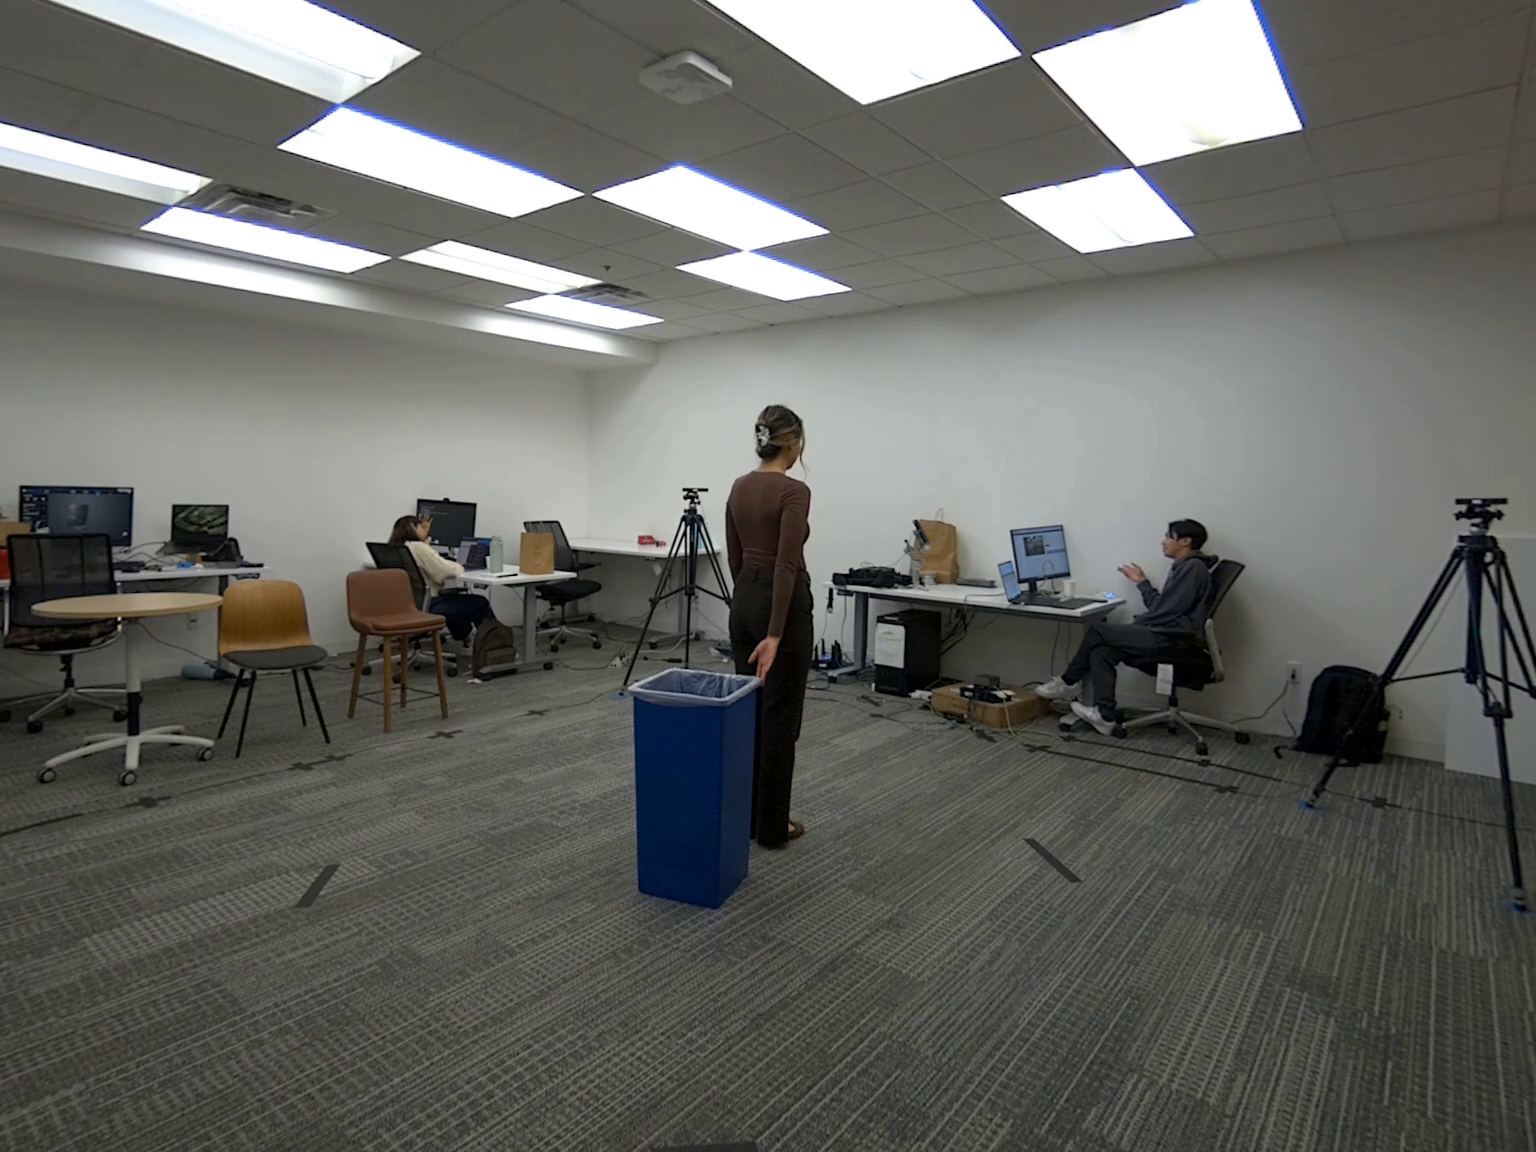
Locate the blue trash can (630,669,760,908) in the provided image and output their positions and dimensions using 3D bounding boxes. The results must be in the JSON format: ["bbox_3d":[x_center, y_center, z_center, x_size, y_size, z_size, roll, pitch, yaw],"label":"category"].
[{"bbox_3d":[-0.260,0.721,2.986,0.382,0.712,0.371,1,3,20],"label":"blue trash can"}]
